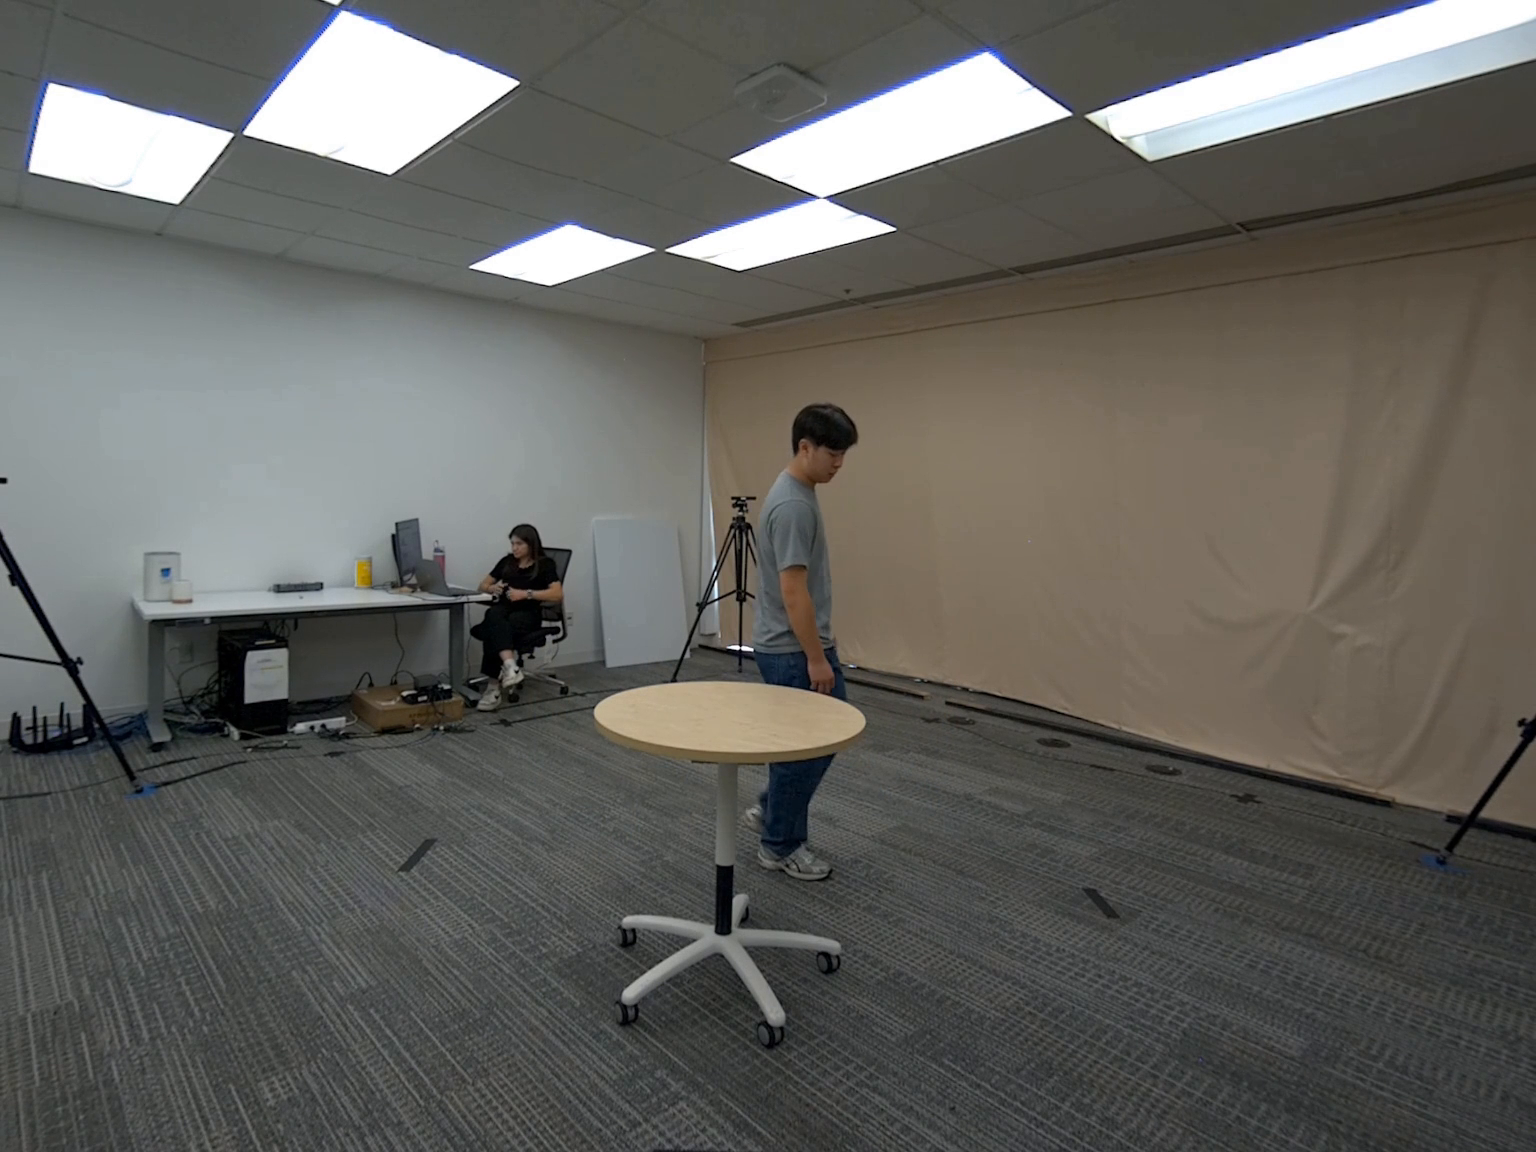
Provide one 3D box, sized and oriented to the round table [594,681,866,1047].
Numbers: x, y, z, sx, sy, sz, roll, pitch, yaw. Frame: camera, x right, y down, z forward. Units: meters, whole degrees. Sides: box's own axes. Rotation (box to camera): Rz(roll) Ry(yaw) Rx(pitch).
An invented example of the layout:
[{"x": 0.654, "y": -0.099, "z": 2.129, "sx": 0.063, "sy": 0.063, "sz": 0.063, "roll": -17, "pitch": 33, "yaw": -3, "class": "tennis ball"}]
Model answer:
[{"x": -0.128, "y": 0.783, "z": 2.414, "sx": 0.763, "sy": 0.792, "sz": 0.767, "roll": 1, "pitch": 4, "yaw": -1, "class": "round table"}]
